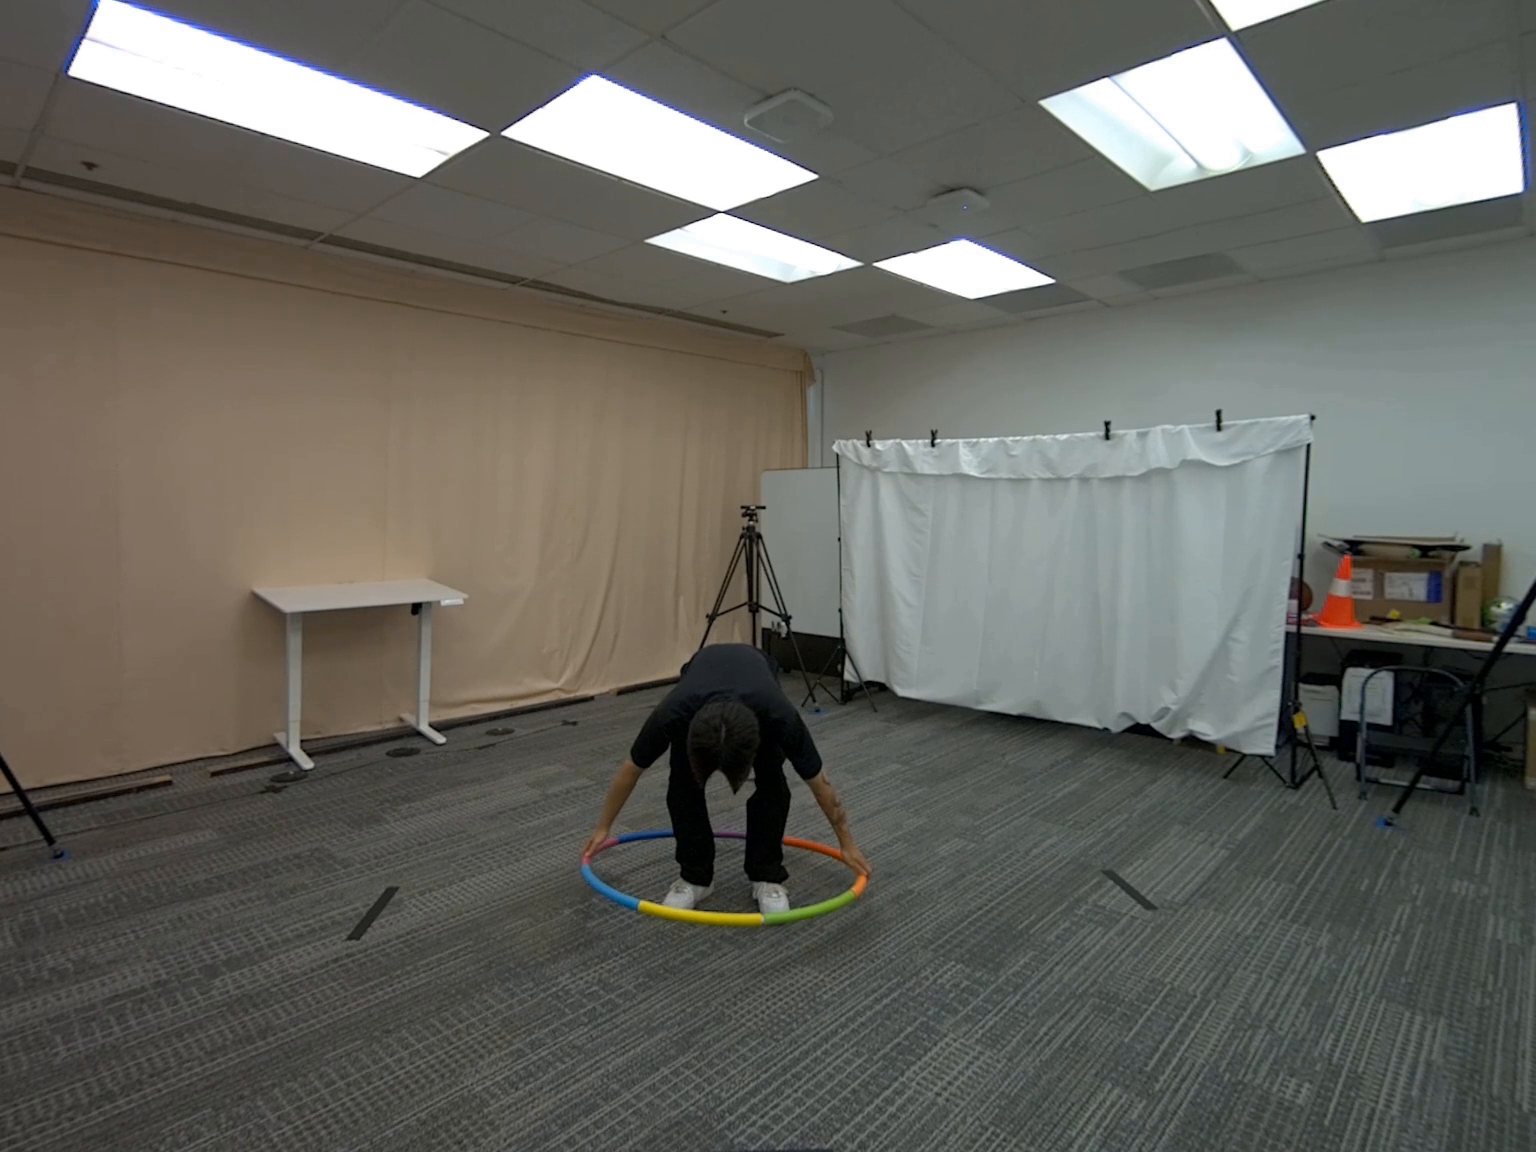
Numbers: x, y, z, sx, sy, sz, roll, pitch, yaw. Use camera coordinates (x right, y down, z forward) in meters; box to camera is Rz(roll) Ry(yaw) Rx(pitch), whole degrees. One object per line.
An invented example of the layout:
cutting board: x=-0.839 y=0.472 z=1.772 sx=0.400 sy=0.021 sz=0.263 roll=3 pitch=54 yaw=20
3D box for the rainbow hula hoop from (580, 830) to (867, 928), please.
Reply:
rainbow hula hoop: x=-0.147 y=1.004 z=2.921 sx=0.978 sy=0.035 sz=0.977 roll=3 pitch=-3 yaw=-2
